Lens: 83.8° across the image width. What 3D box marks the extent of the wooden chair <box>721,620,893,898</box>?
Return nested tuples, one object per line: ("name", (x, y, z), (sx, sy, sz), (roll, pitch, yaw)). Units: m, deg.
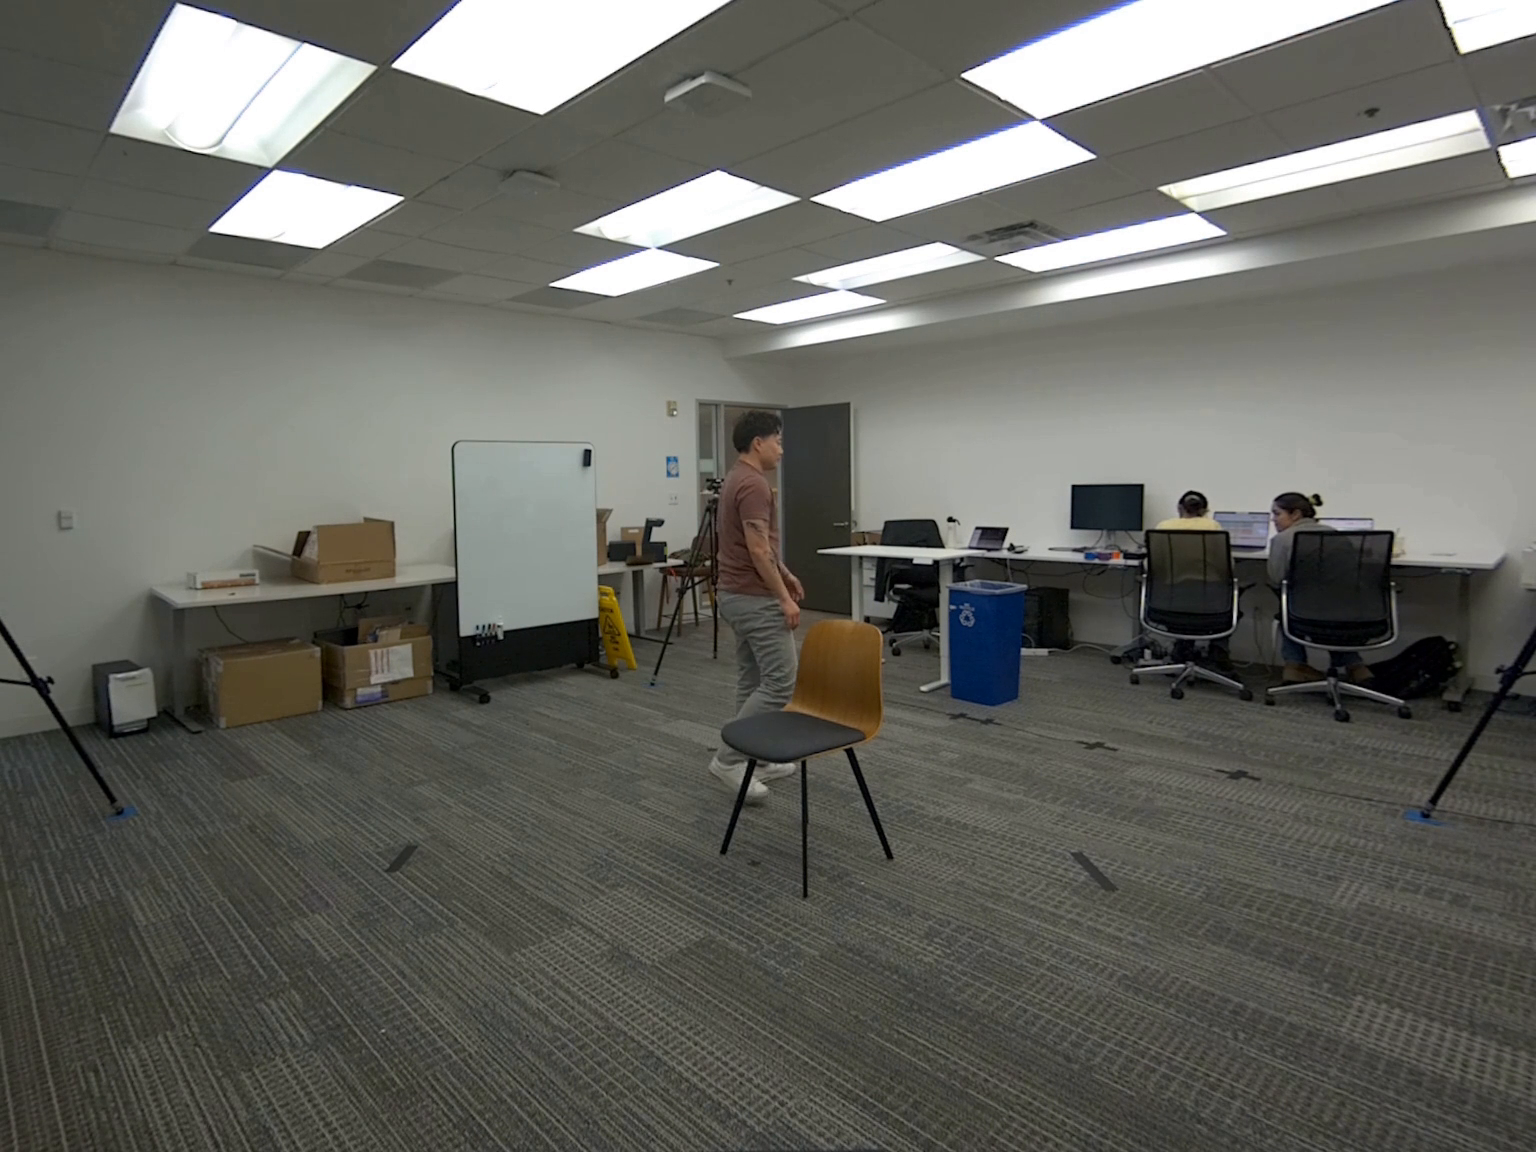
("wooden chair", (0.129, 0.614, 3.110), (0.508, 0.876, 0.493), (1, 2, -41))
